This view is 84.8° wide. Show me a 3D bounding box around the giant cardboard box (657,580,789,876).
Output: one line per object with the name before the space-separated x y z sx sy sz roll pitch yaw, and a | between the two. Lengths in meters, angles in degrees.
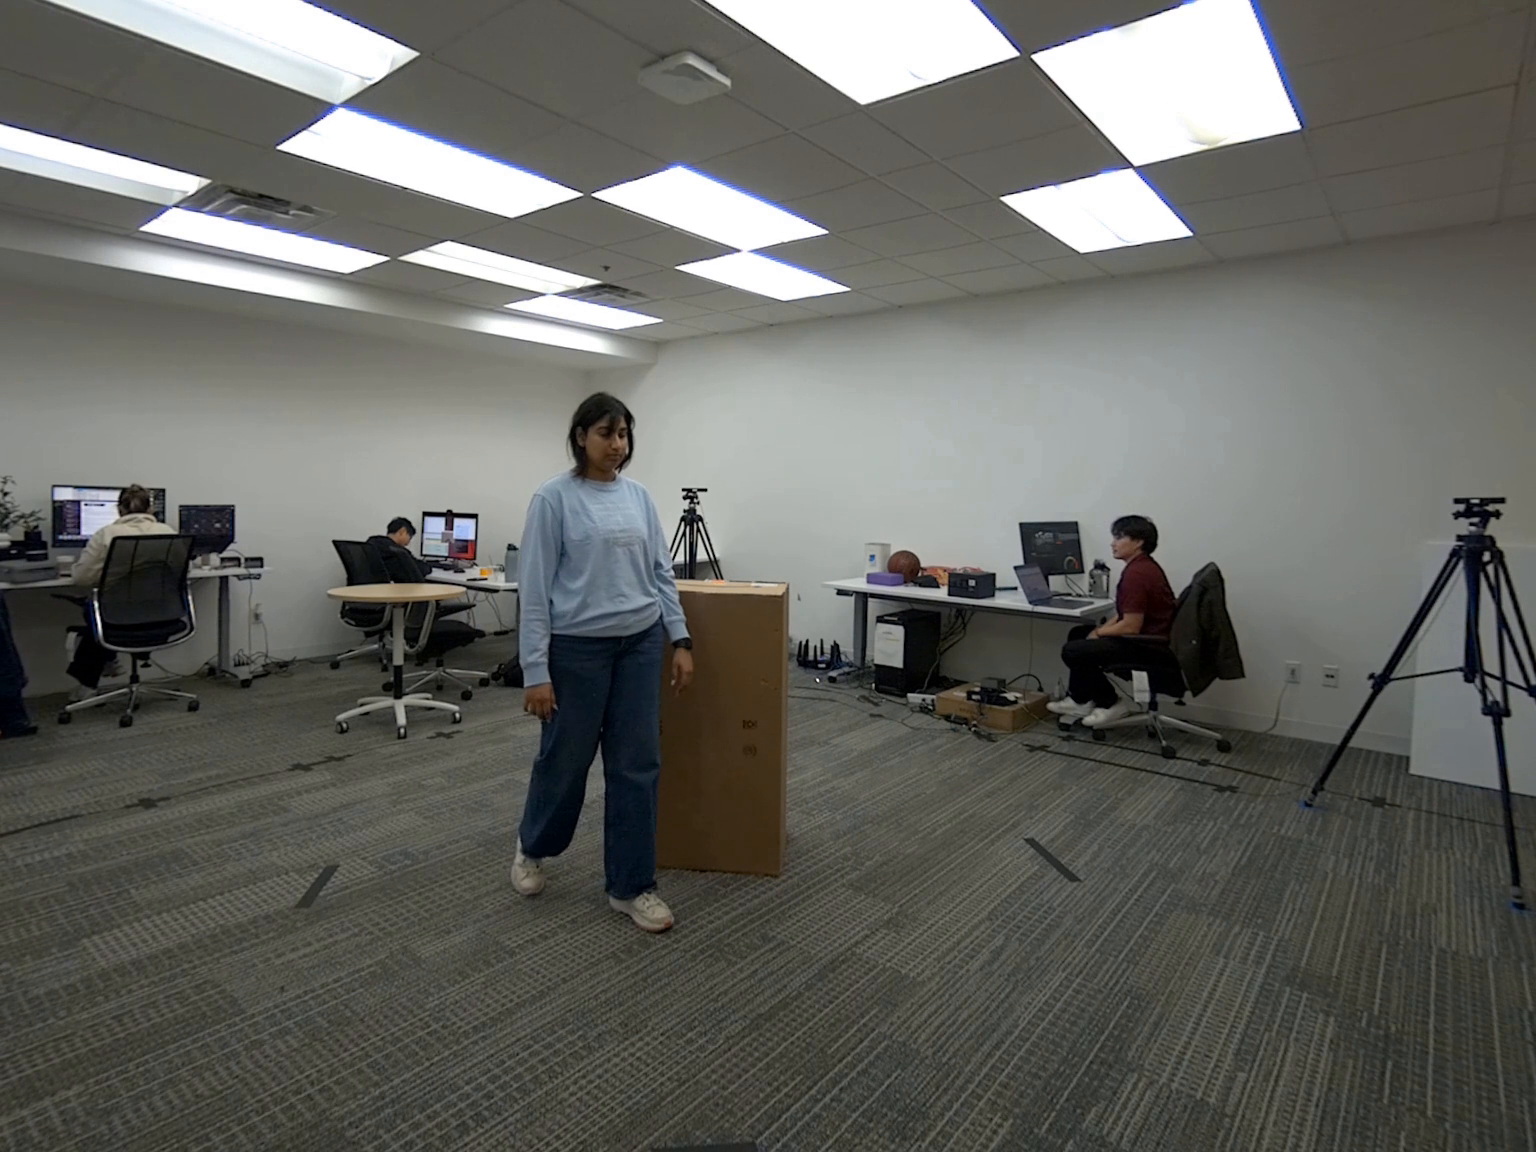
giant cardboard box | -0.222 0.543 3.282 0.582 1.023 0.424 1 3 6
